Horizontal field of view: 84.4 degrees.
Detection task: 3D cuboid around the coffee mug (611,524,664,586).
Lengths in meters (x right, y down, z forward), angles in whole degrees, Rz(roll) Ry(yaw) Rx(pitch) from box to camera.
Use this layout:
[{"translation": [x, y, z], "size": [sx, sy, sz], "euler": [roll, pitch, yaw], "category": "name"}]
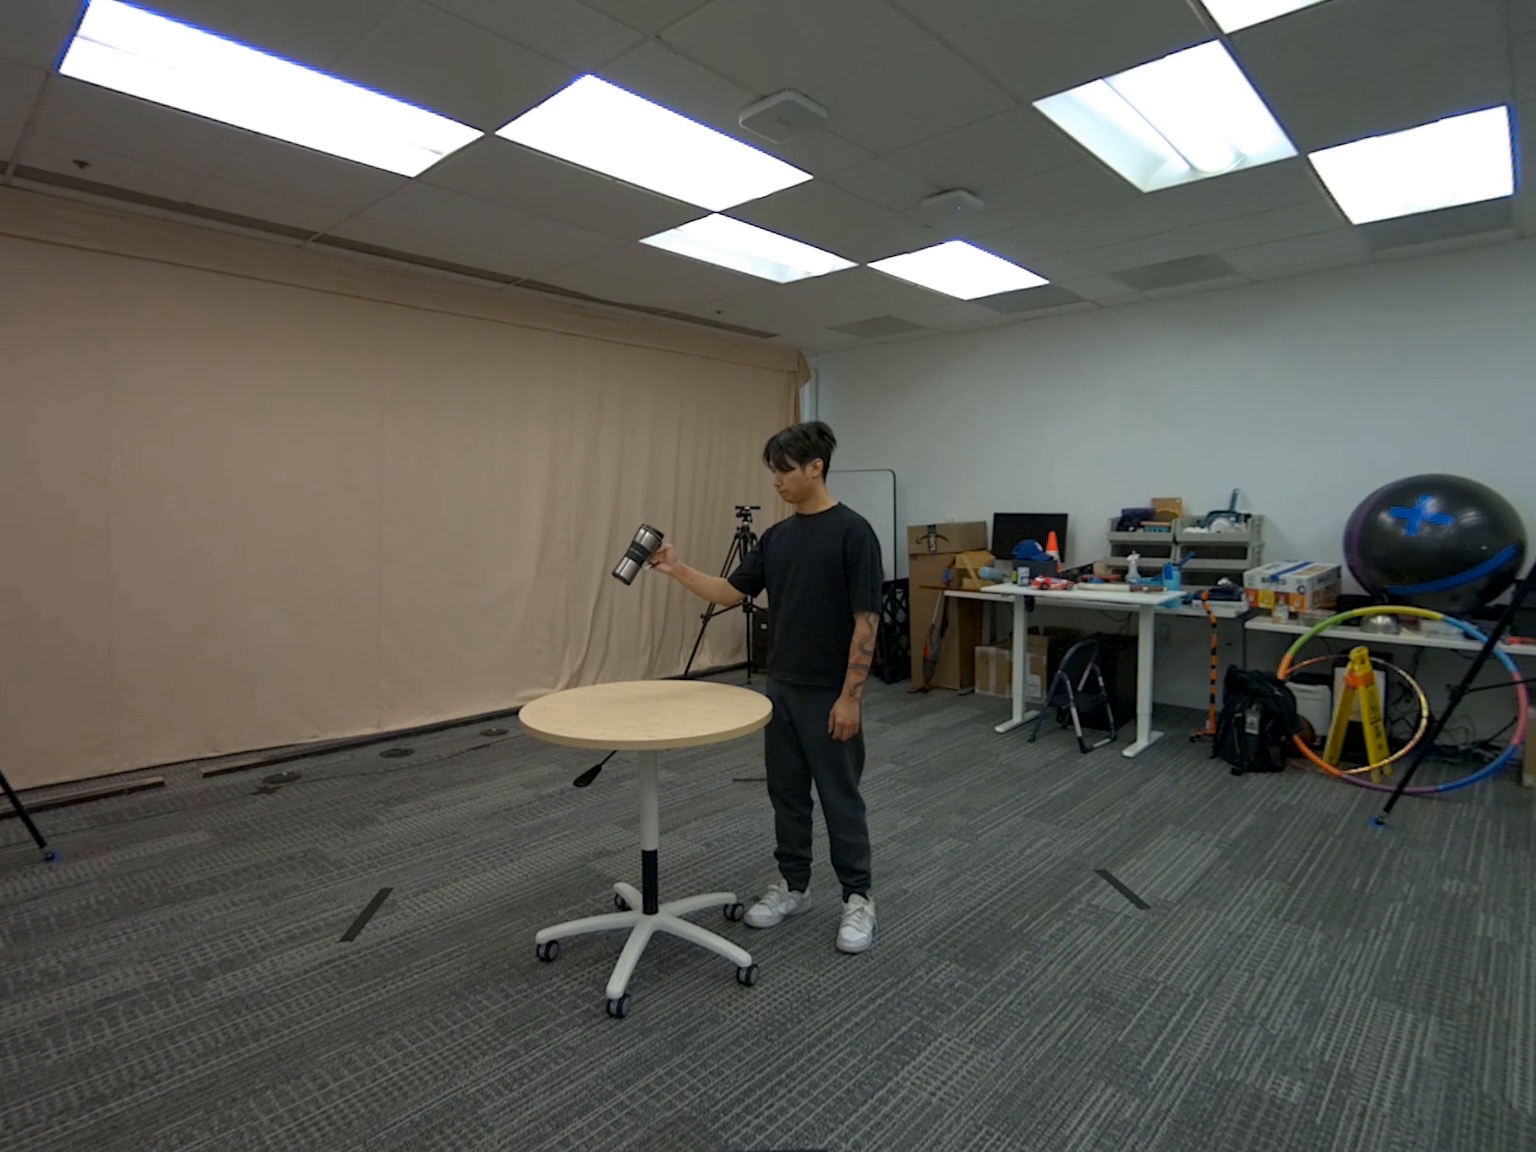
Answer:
[{"translation": [-0.415, -0.059, 2.791], "size": [0.121, 0.203, 0.088], "euler": [30, -11, -3], "category": "coffee mug"}]
